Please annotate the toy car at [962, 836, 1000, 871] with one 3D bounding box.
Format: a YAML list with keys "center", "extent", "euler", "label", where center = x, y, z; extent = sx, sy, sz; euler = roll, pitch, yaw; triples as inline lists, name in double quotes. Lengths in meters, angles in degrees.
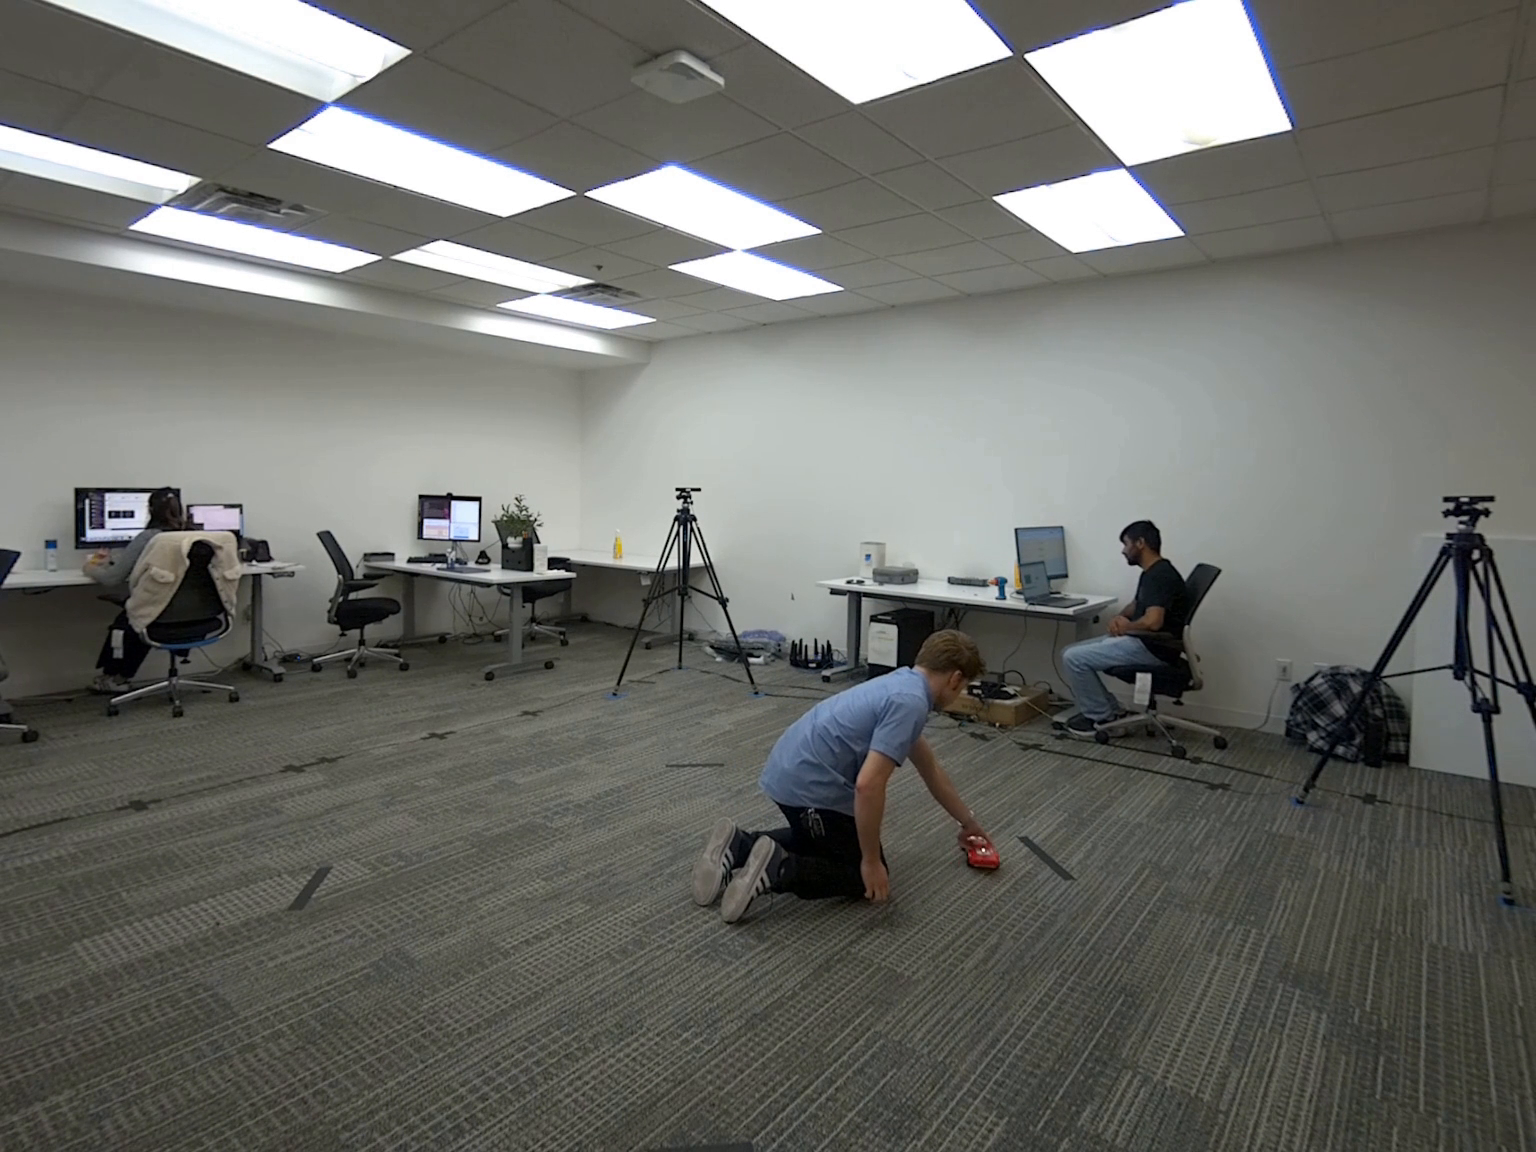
- center: [0.794, 1.048, 3.233]
  extent: [0.131, 0.083, 0.251]
  euler: [1, -4, 6]
  label: "toy car"
